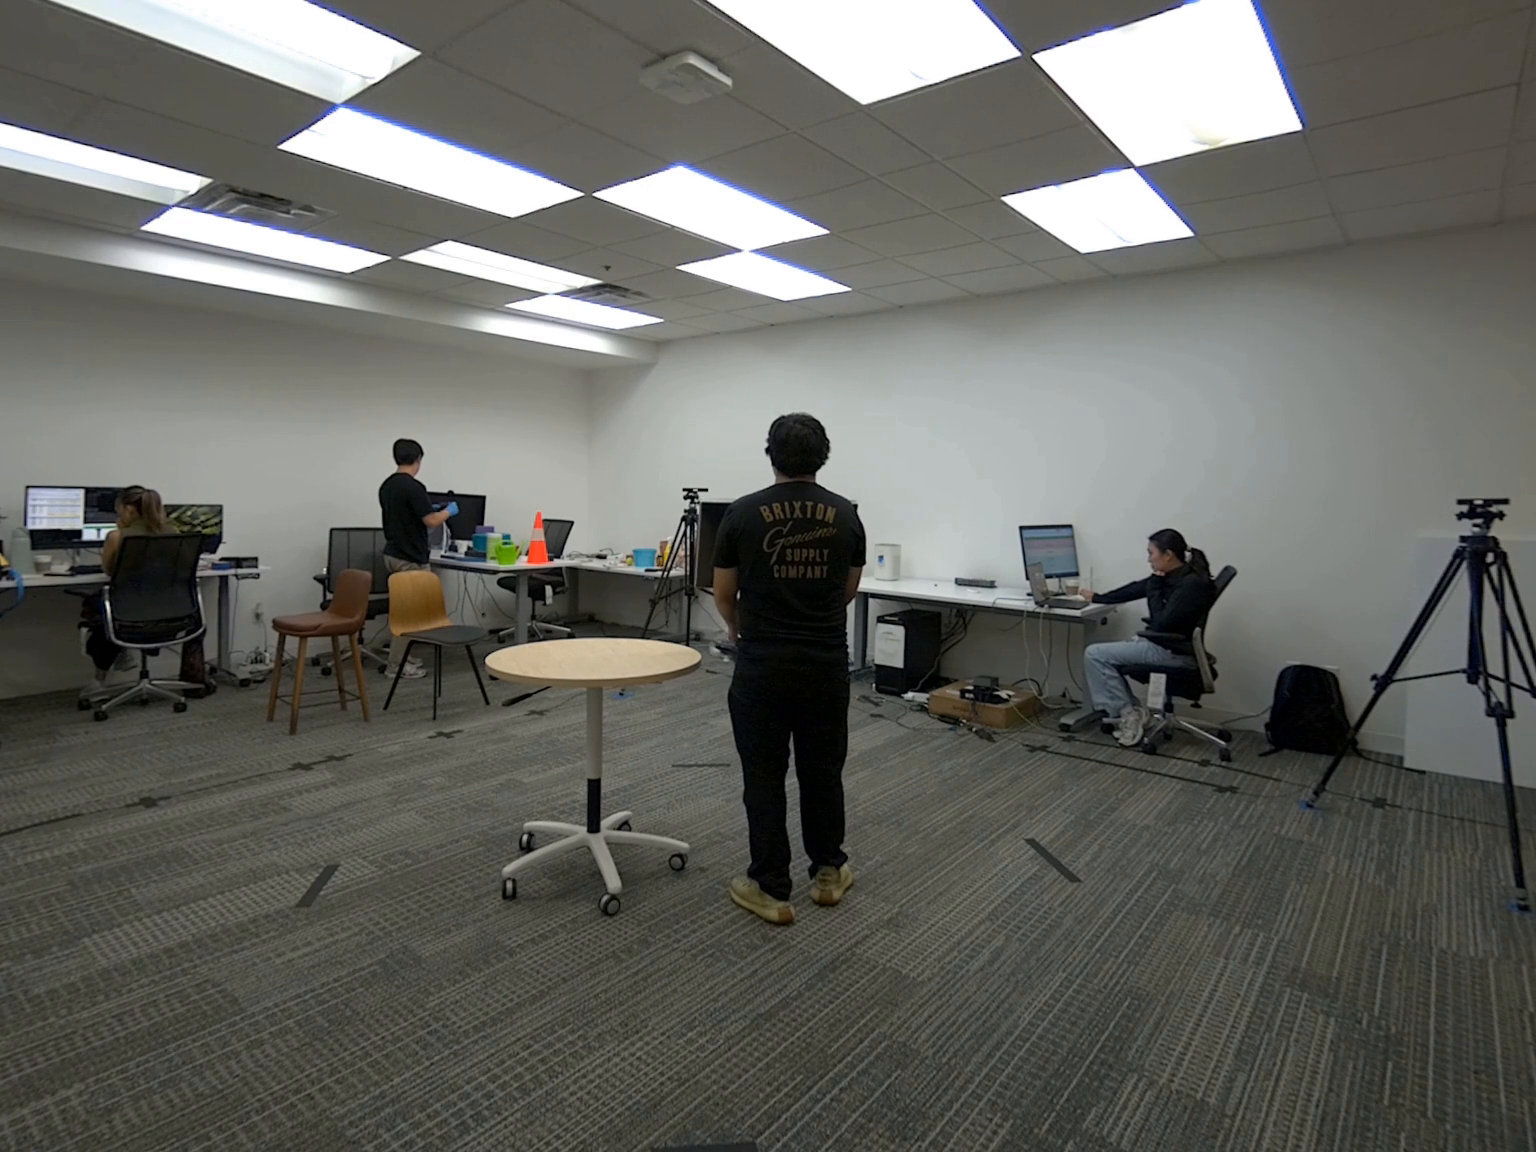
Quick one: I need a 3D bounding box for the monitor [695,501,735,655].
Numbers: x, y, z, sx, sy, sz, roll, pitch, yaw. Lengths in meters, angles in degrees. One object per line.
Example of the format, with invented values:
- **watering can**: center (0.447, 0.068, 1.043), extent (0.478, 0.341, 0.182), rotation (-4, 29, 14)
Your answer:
- **monitor**: center (0.007, 0.004, 3.008), extent (0.560, 0.543, 0.216), rotation (1, 25, -9)
